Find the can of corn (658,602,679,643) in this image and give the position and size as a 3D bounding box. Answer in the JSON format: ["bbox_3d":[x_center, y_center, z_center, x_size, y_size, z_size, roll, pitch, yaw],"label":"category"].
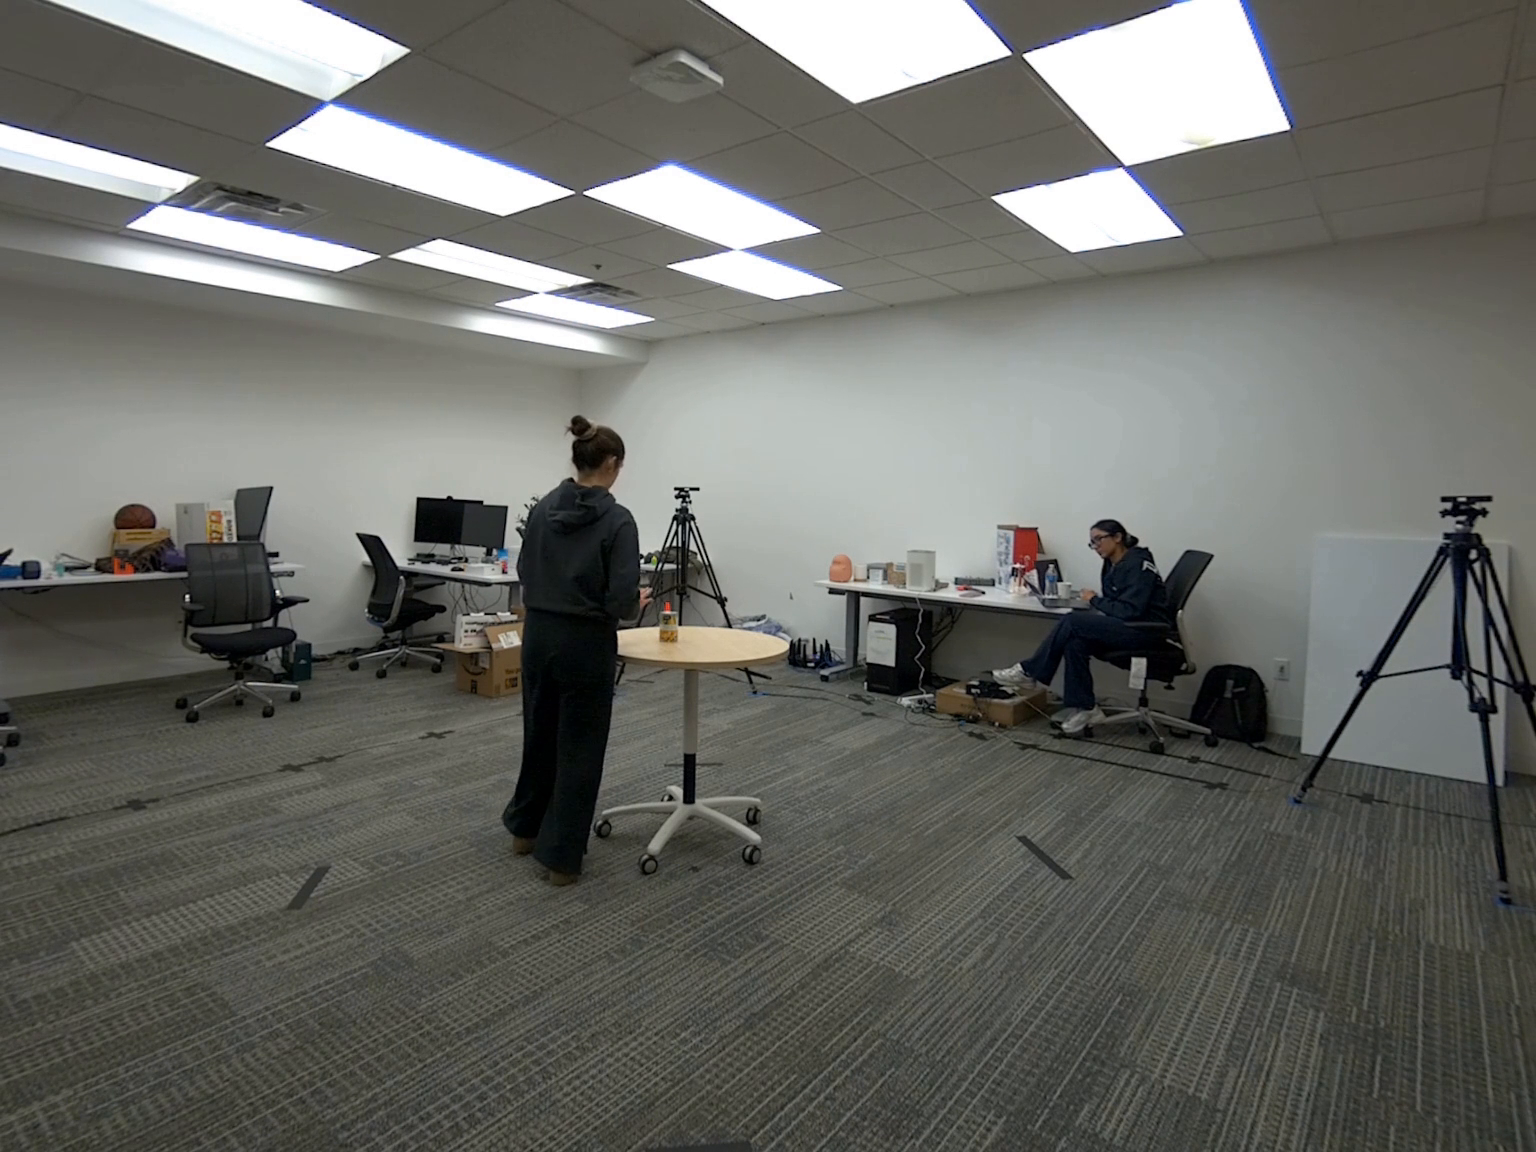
[{"bbox_3d":[-0.401,0.199,3.375,0.074,0.111,0.074,1,3,-2],"label":"can of corn"}]
